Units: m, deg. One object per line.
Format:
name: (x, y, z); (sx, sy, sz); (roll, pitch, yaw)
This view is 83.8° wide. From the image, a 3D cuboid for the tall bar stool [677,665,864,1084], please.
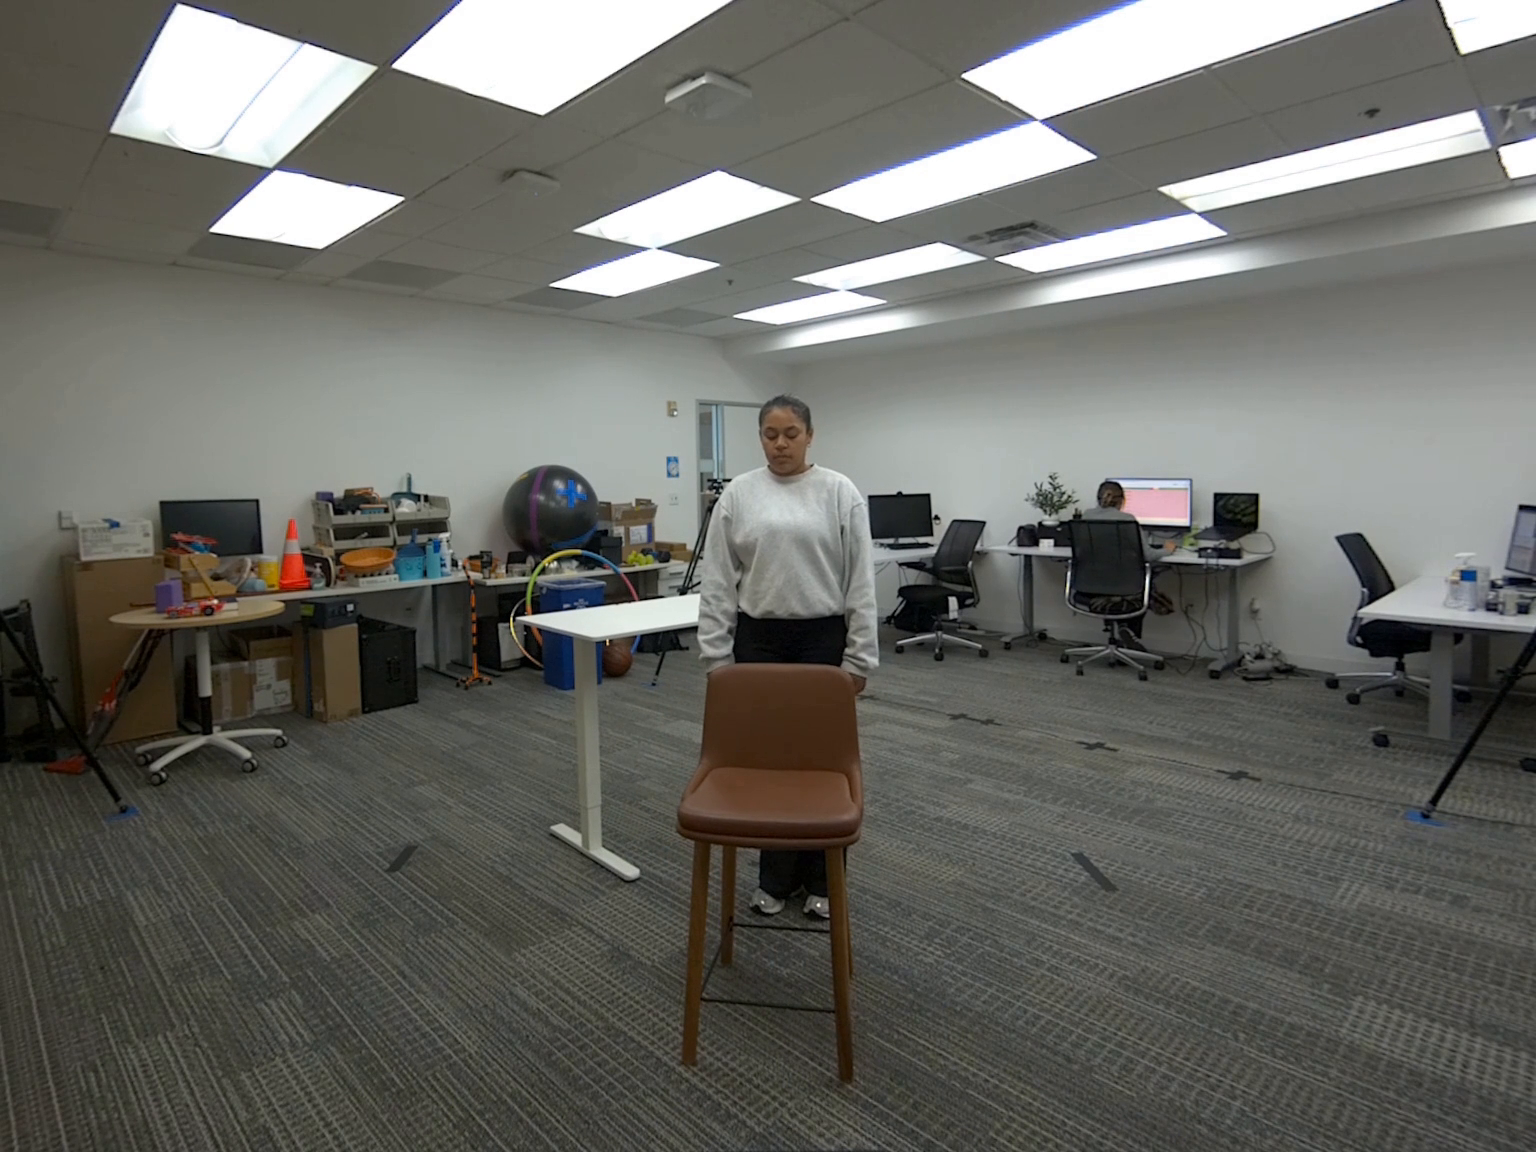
tall bar stool: (0.021, 0.714, 2.208); (0.461, 0.888, 0.464); (0, 3, 9)
